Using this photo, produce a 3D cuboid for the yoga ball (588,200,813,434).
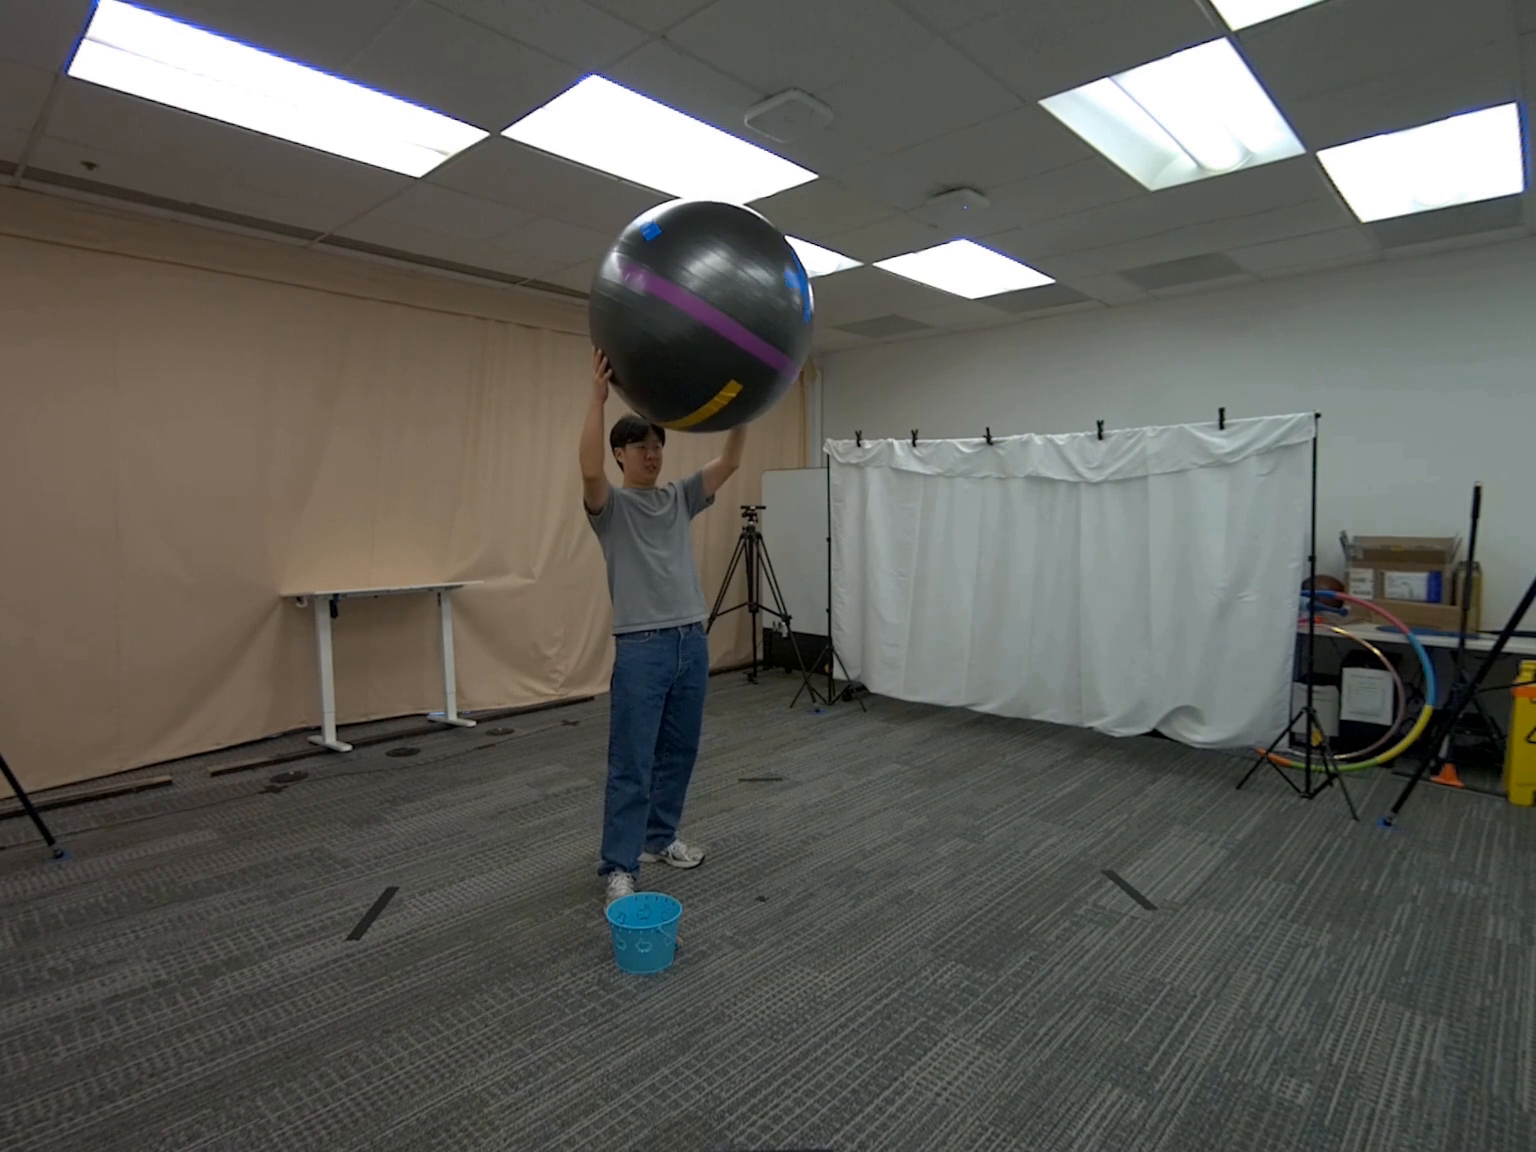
[{"bbox_3d":[-0.224,-0.847,2.832,0.757,0.756,0.761,0,4,-2],"label":"yoga ball"}]
